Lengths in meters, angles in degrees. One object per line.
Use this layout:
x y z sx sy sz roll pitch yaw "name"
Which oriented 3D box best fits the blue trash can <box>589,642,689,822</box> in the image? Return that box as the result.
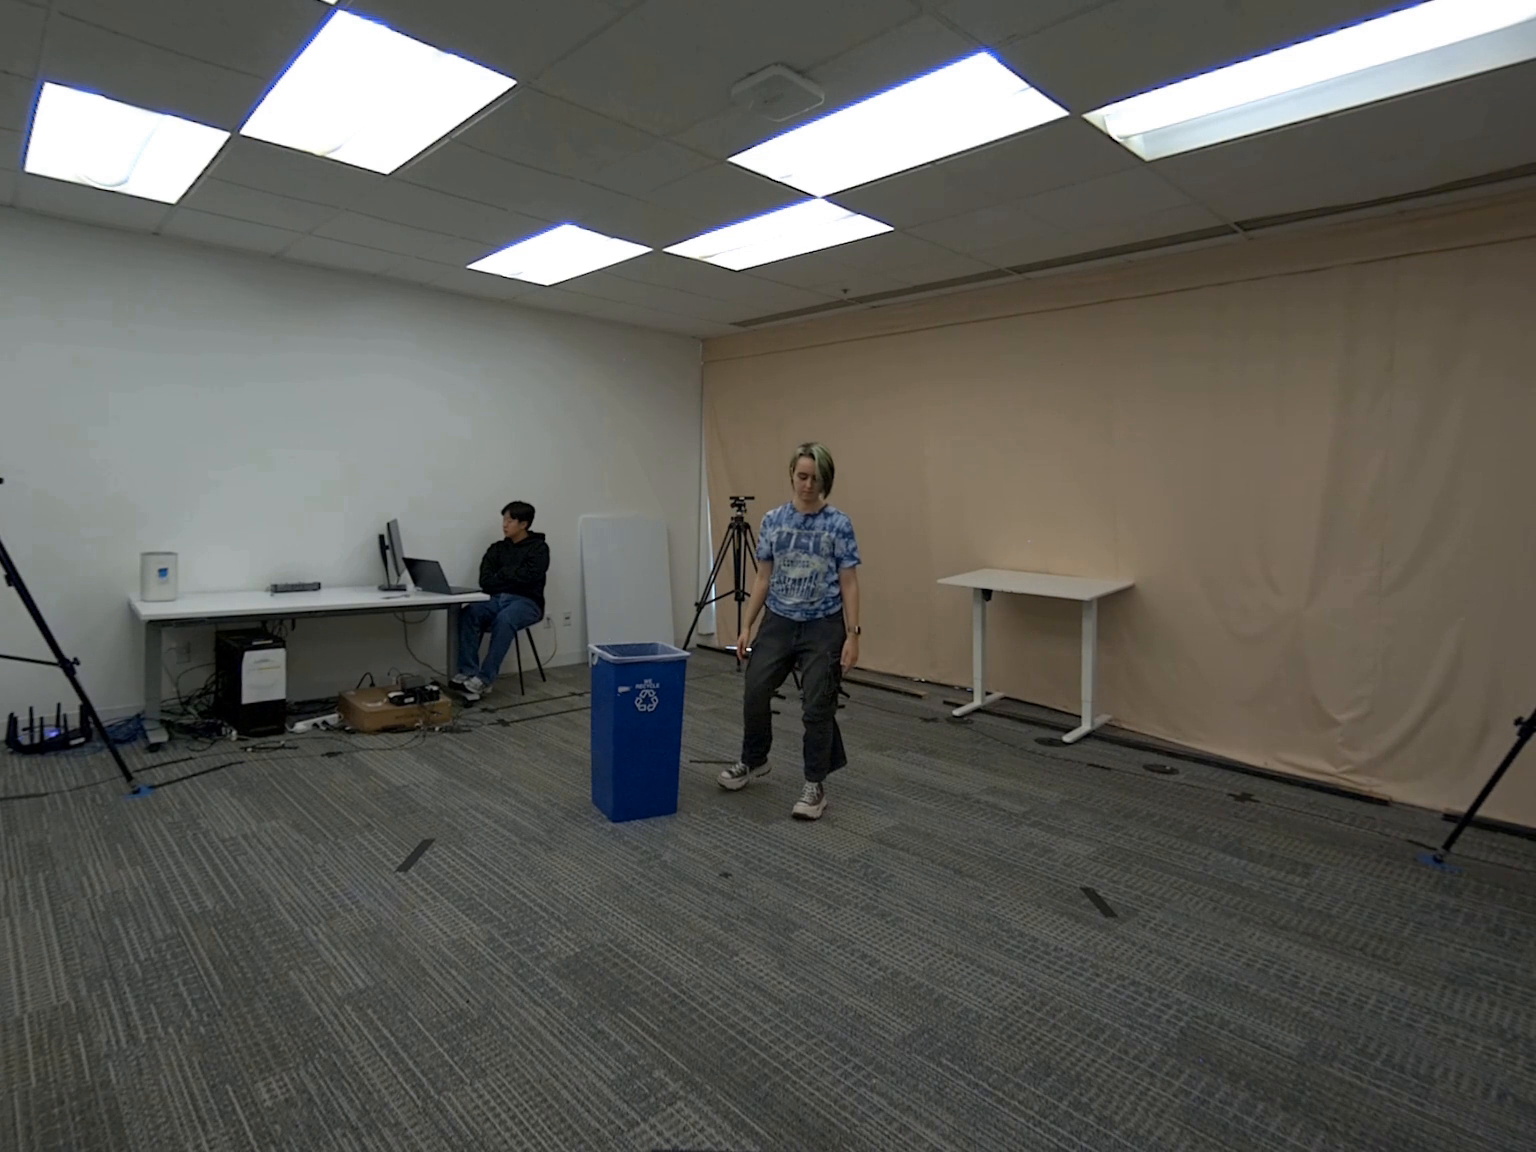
-0.595 0.679 3.761 0.366 0.712 0.386 0 4 -30 "blue trash can"
